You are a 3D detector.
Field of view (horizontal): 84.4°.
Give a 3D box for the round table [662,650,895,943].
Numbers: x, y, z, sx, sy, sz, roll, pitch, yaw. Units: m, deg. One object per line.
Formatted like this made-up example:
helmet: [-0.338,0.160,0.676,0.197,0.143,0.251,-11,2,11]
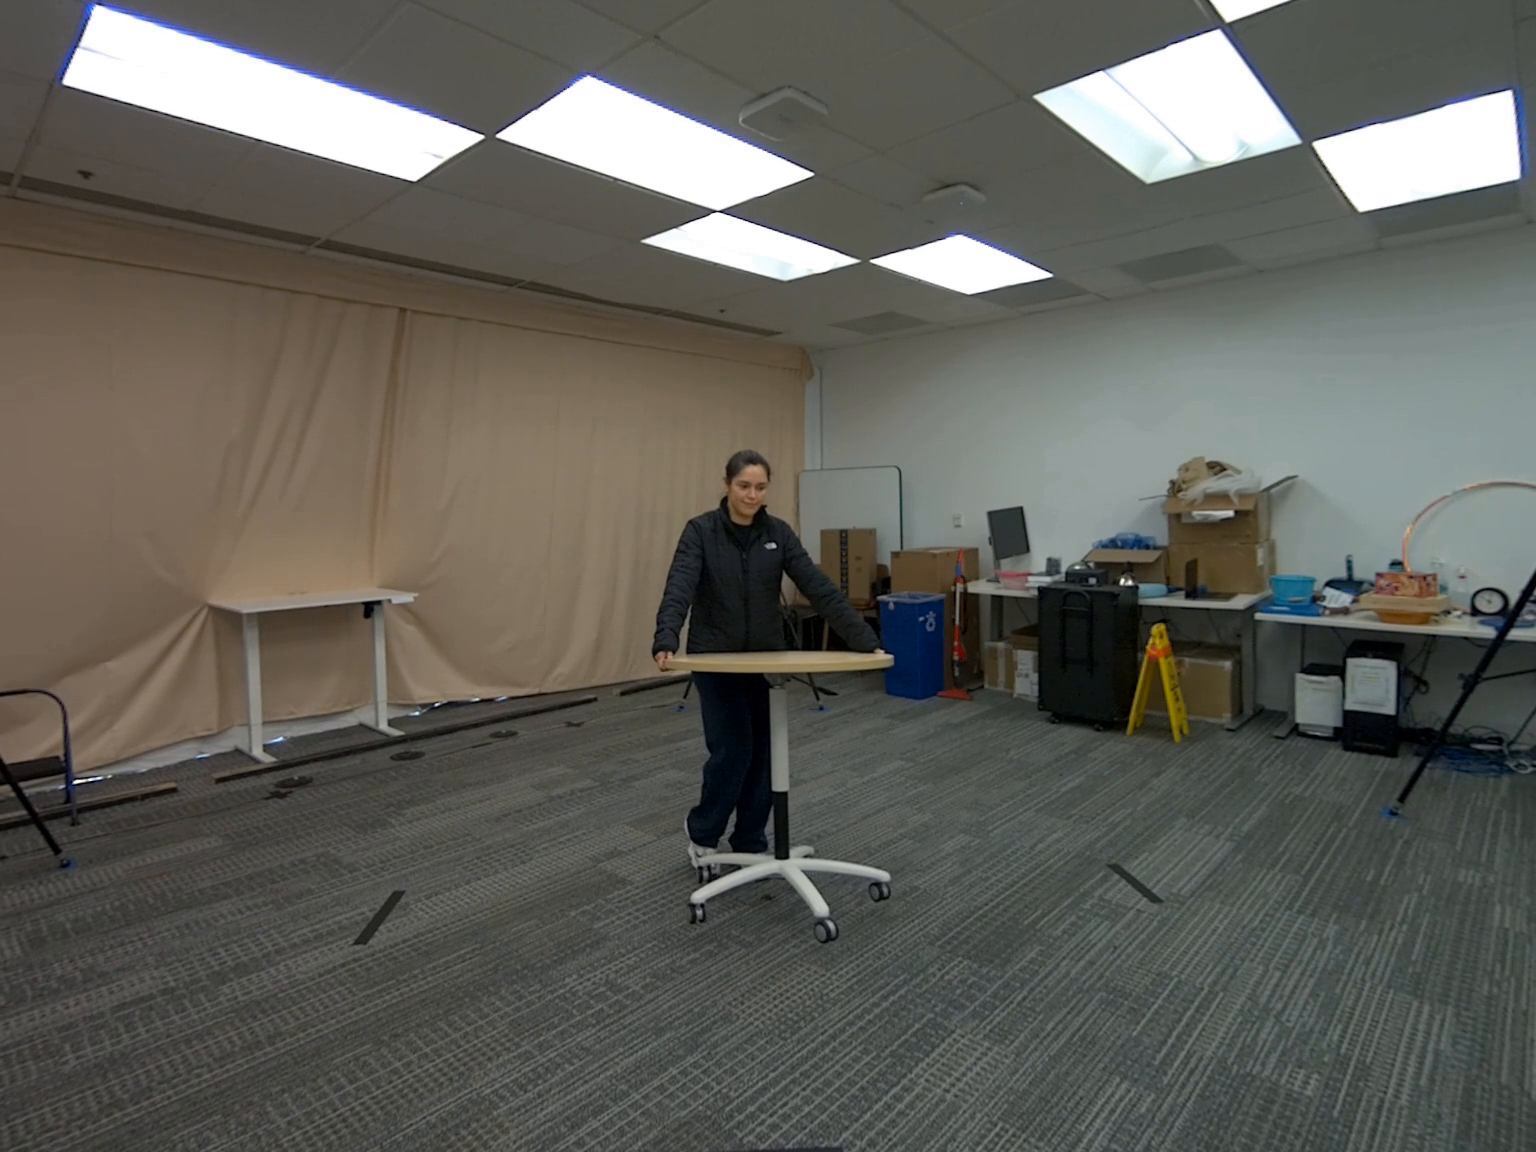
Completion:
round table: [0.036,0.673,2.803,0.784,0.788,0.784,-1,-3,-2]
